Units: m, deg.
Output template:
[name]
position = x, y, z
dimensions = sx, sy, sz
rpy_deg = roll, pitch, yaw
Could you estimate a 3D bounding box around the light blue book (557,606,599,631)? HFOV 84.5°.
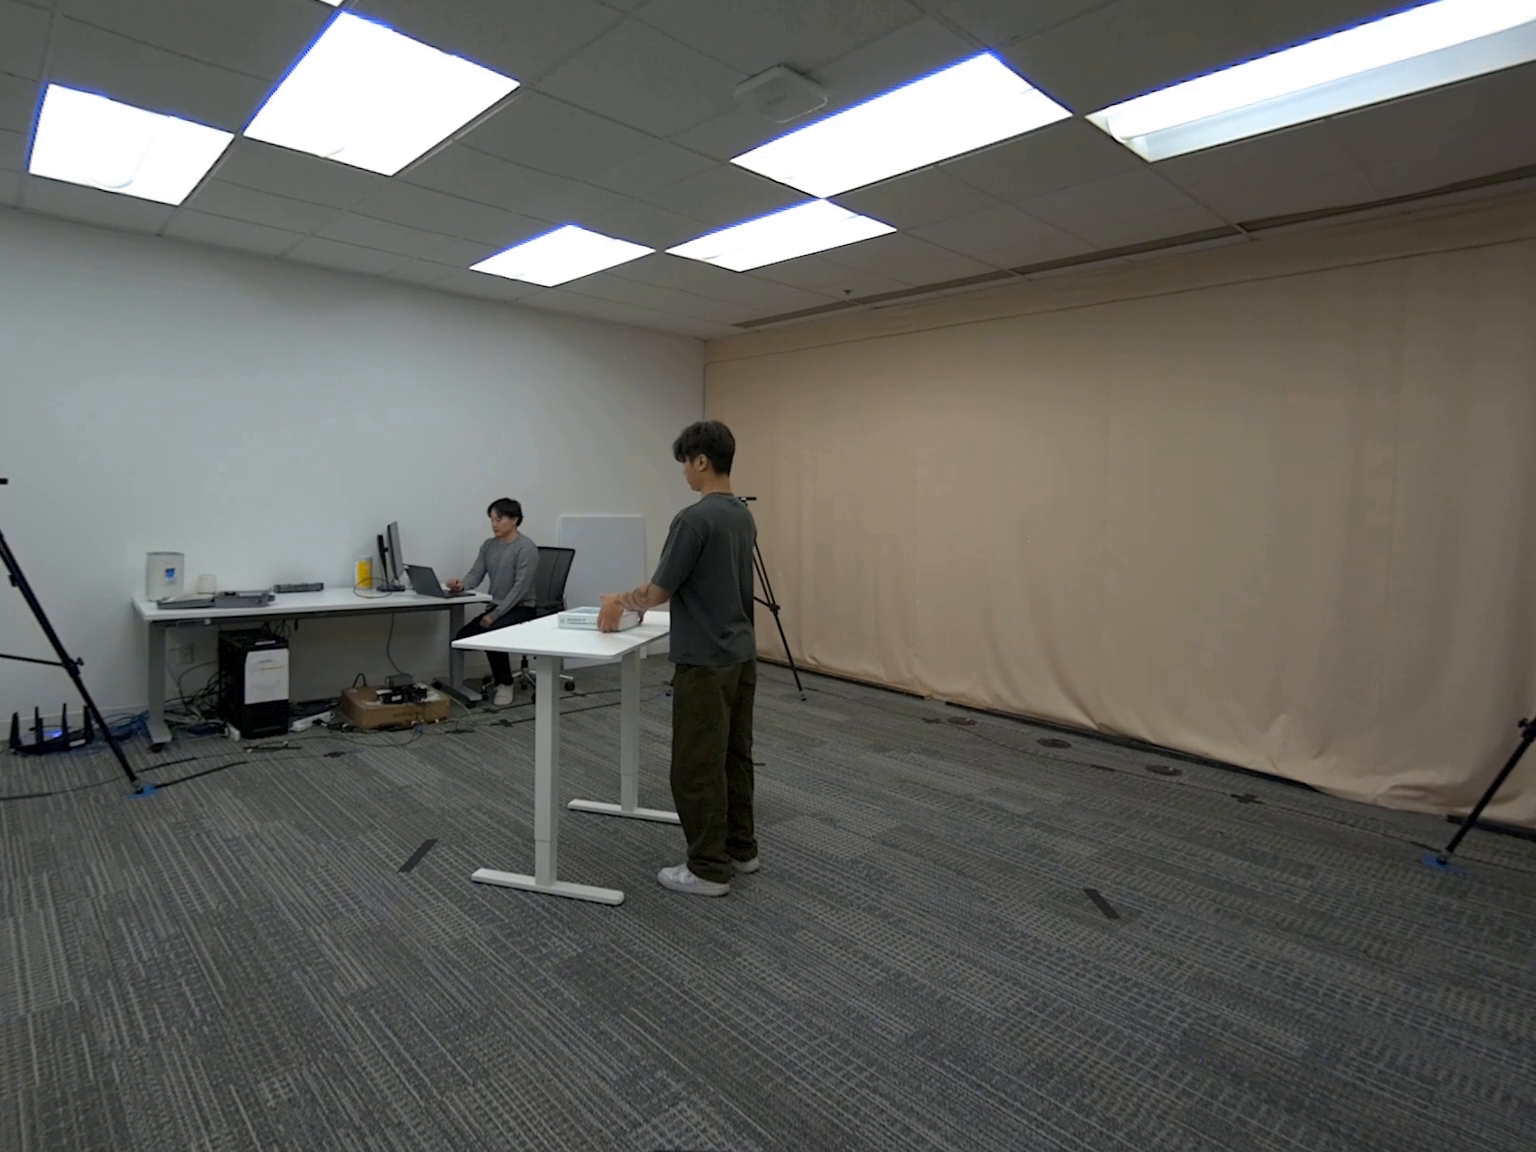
[light blue book]
position = -0.665, 0.169, 3.283
dimensions = 0.263, 0.059, 0.190
rpy_deg = 1, 5, 12
